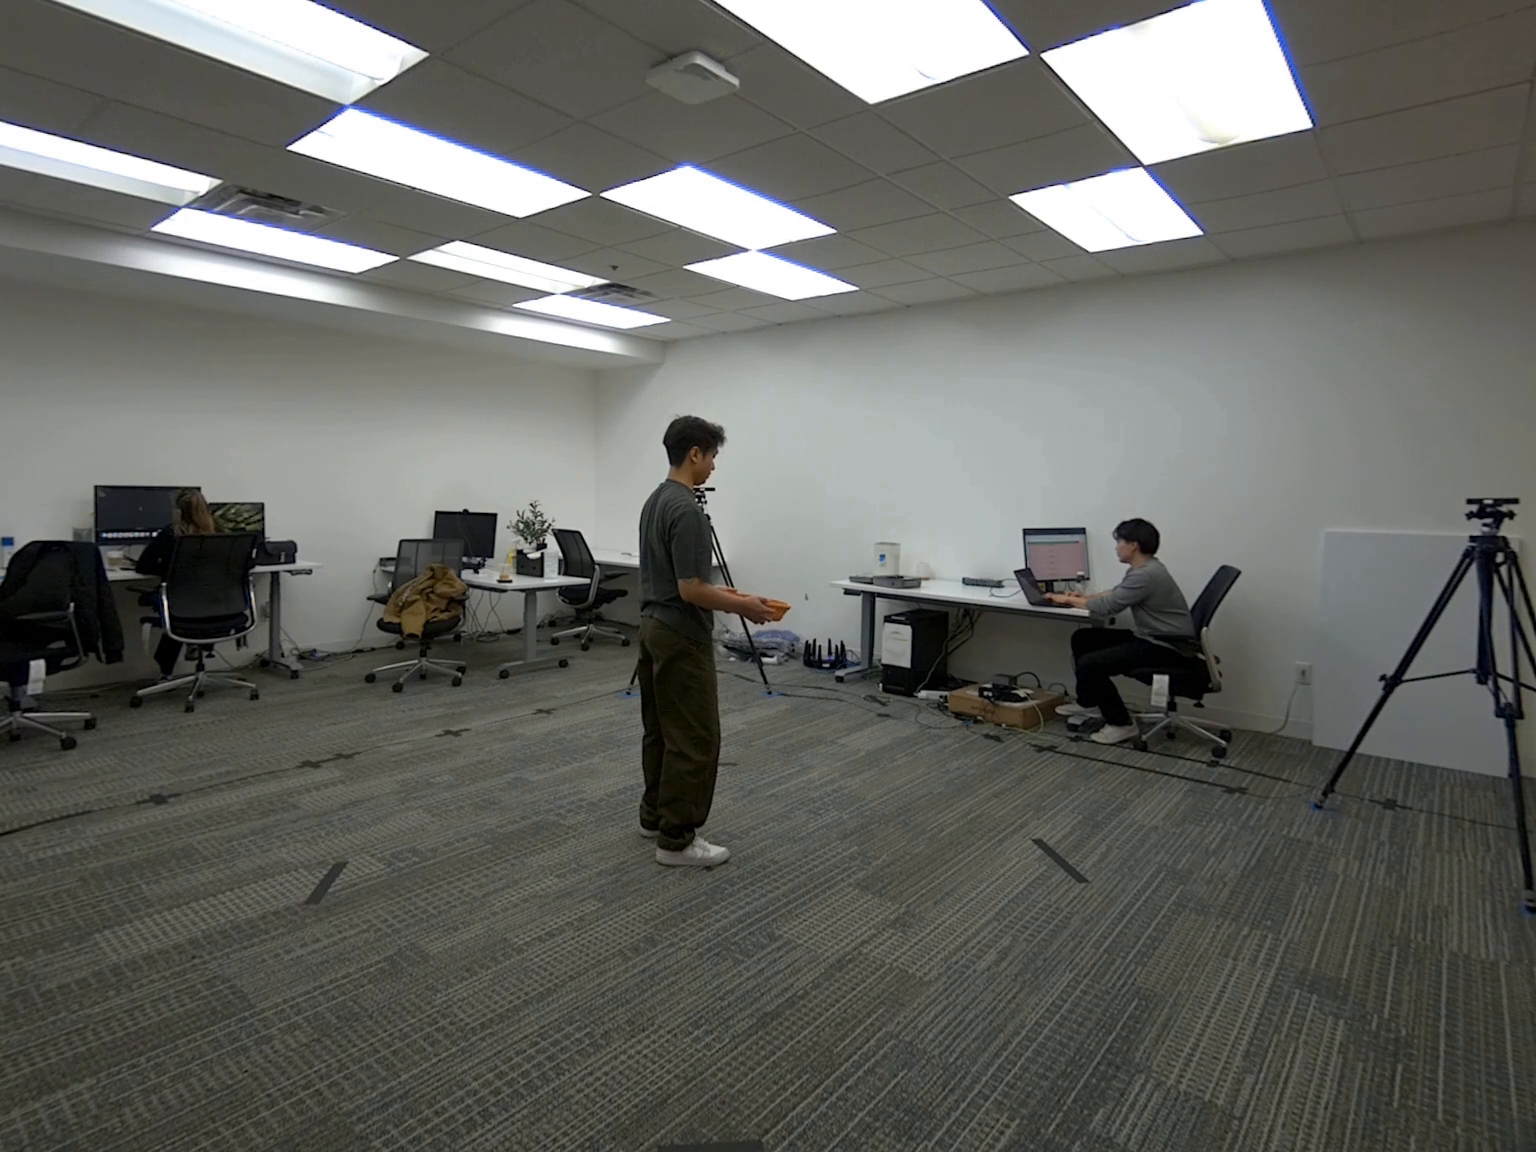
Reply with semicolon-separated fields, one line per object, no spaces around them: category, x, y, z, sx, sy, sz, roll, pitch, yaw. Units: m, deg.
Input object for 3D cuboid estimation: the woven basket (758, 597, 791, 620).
woven basket;-0.066;0.130;3.363;0.246;0.073;0.359;8;2;-23
